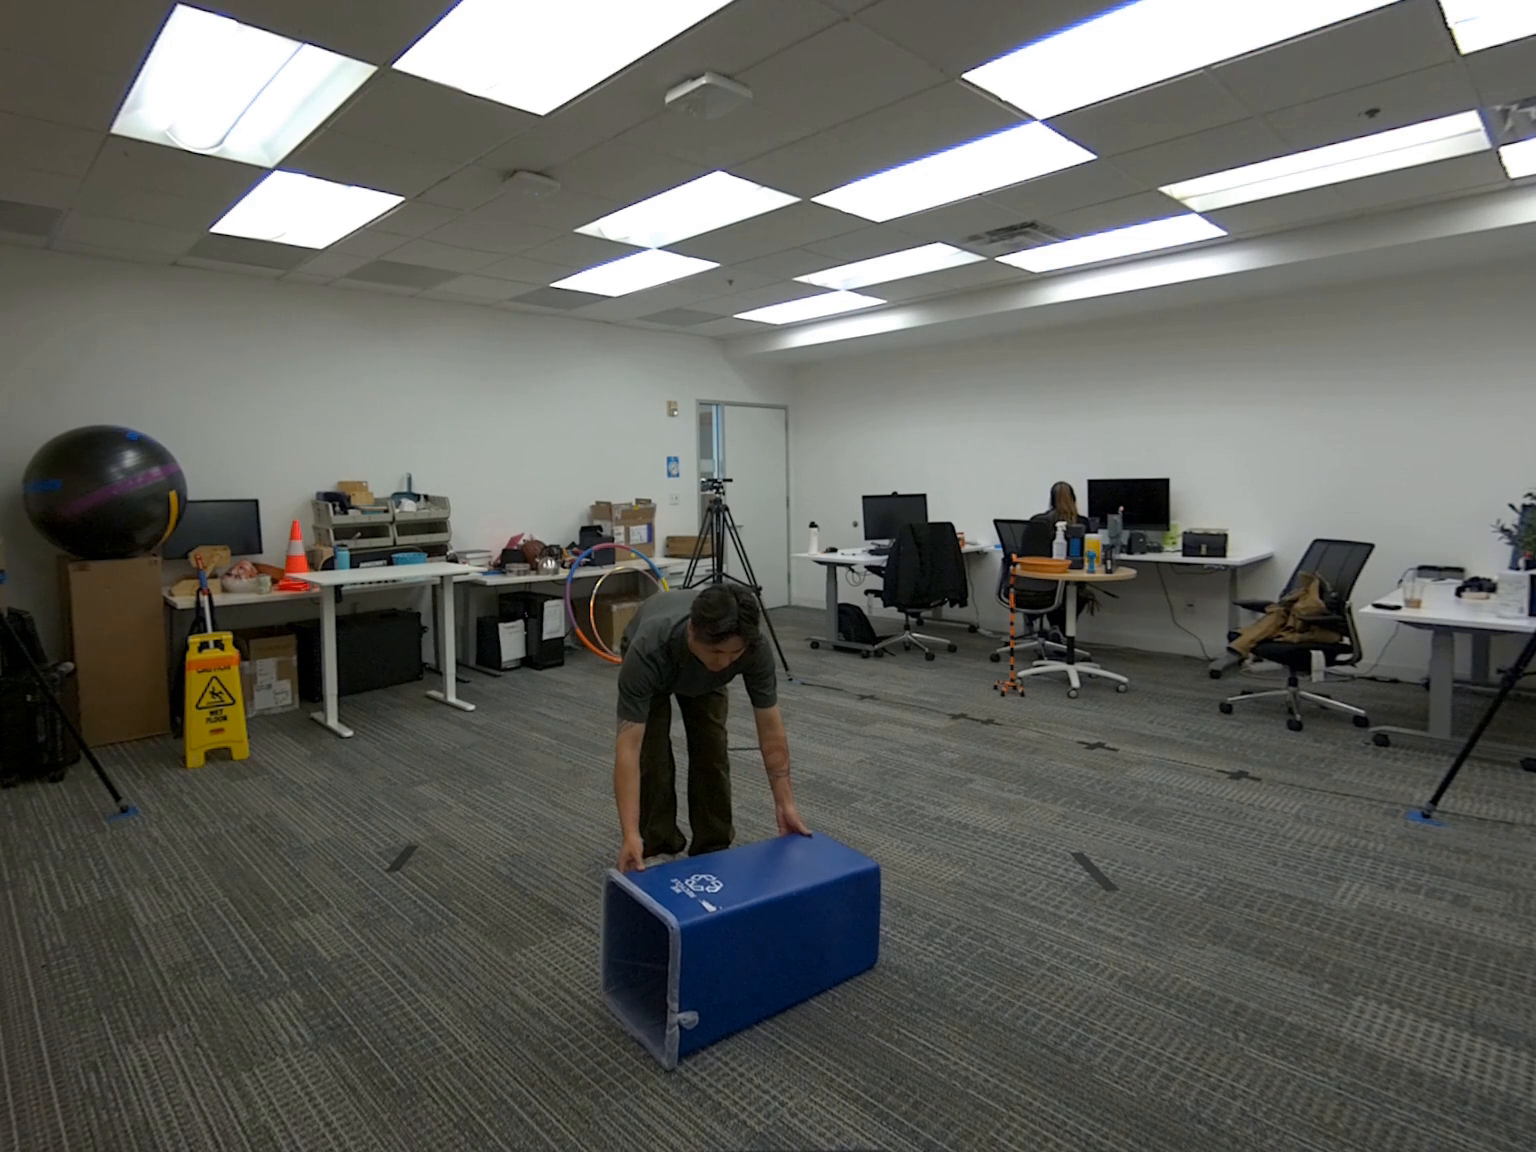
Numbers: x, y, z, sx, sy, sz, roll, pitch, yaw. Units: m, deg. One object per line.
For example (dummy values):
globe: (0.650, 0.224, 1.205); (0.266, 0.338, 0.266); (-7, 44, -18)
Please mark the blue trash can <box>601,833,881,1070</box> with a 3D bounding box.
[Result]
blue trash can: (-0.051, 0.962, 2.349); (0.695, 0.373, 0.389); (-4, 6, -36)
